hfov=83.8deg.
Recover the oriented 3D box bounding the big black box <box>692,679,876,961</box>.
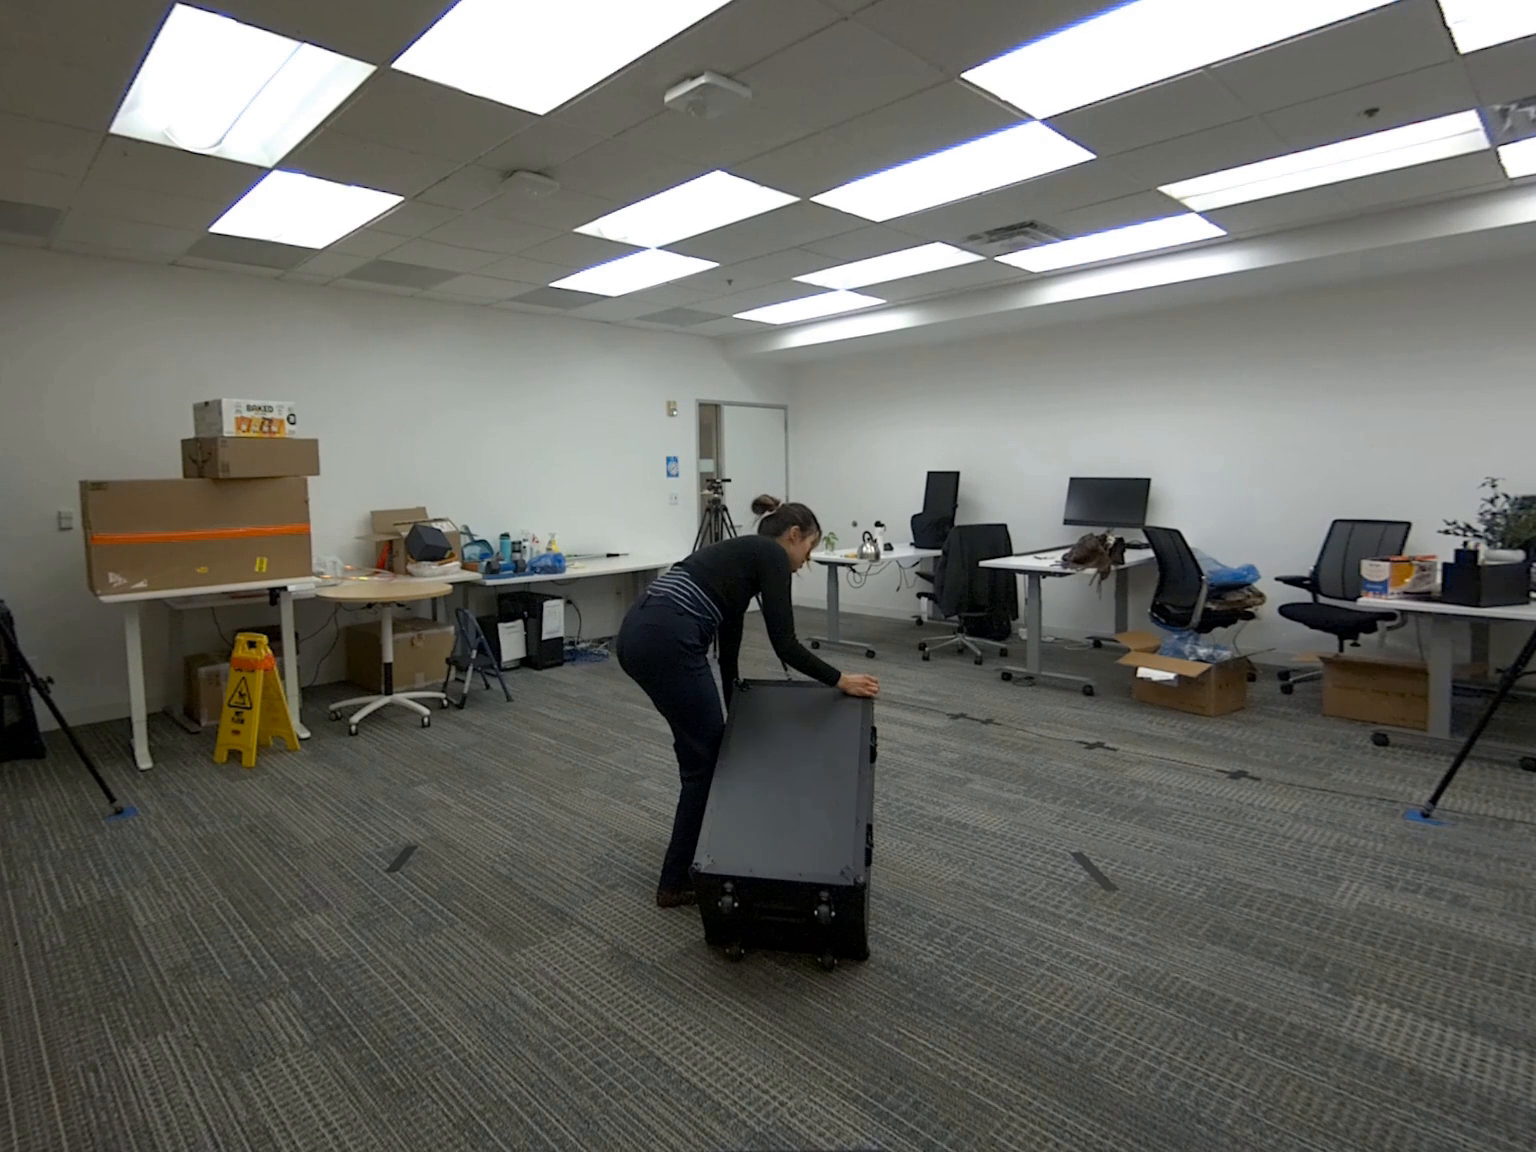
[{"bbox_3d":[0.080,0.758,2.718,0.527,0.385,0.876,-2,34,10],"label":"big black box"}]
